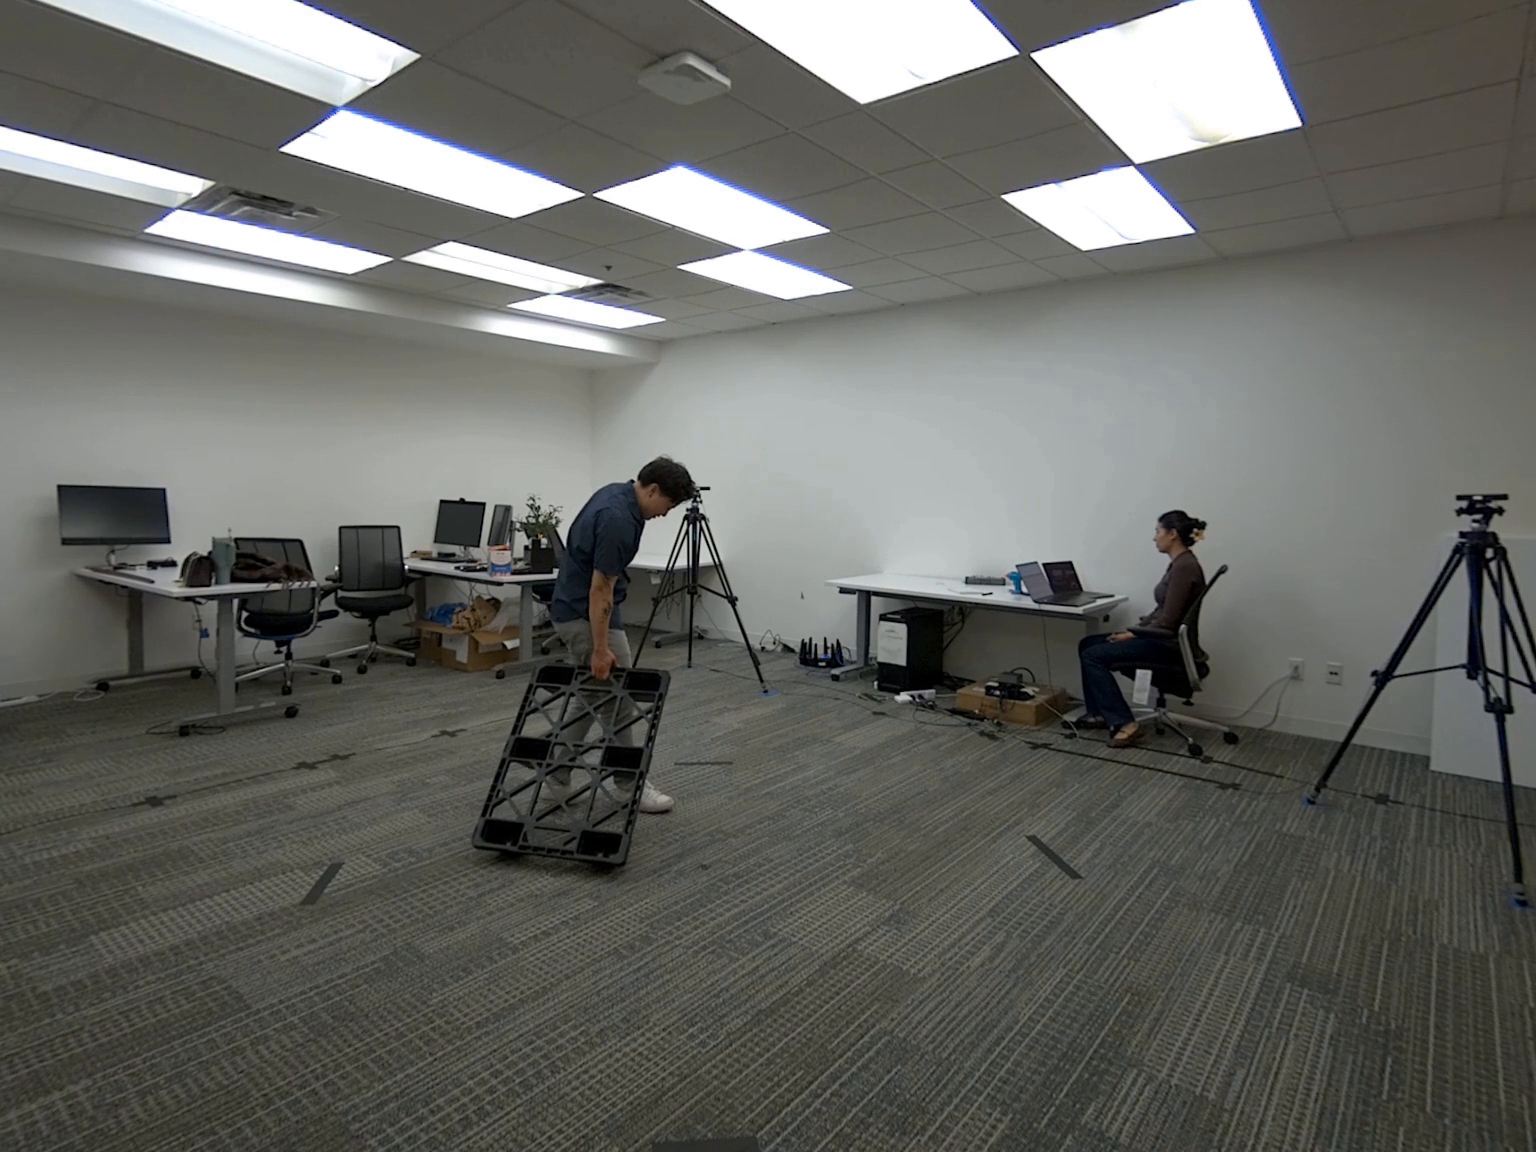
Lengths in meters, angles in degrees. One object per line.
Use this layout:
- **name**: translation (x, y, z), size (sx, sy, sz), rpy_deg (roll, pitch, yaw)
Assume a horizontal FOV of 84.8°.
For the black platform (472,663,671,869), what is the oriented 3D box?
- **black platform**: translation (-0.756, 0.728, 3.354), size (0.614, 0.823, 0.138), rpy_deg (0, -39, 12)
